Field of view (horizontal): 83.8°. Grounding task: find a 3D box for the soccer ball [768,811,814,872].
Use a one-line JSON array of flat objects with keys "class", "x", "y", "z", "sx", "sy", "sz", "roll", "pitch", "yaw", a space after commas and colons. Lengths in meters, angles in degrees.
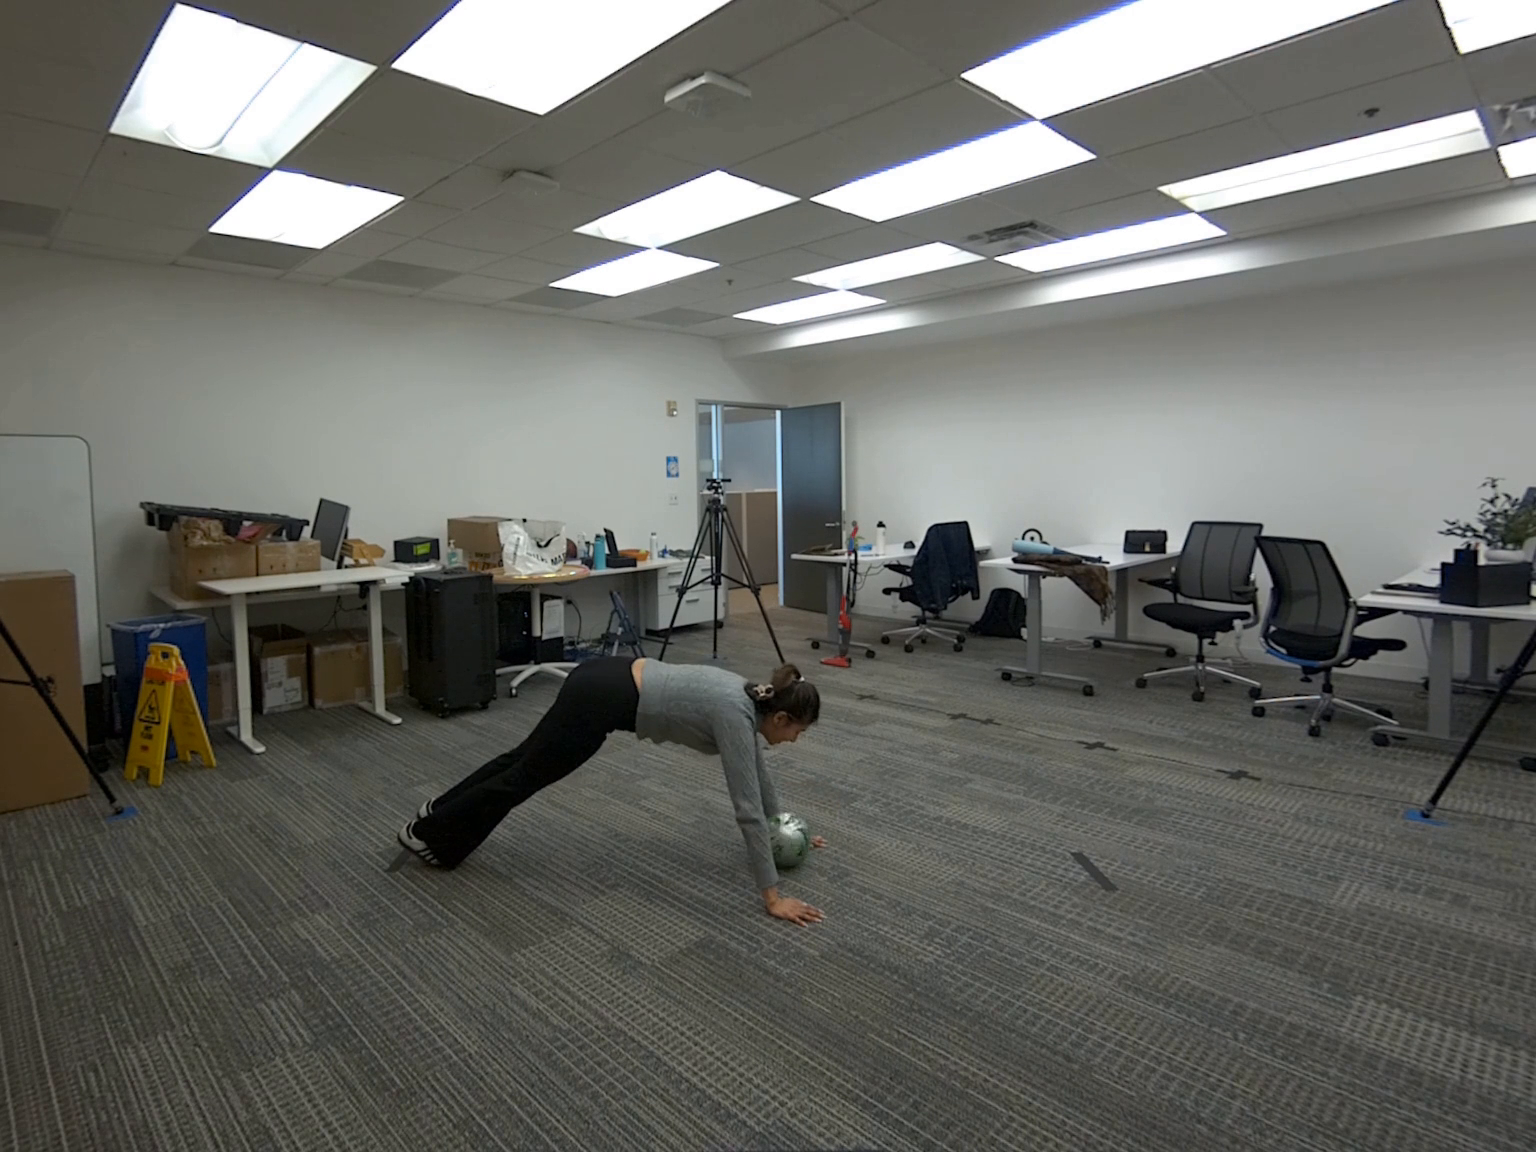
[{"class": "soccer ball", "x": 0.056, "y": 0.946, "z": 3.079, "sx": 0.187, "sy": 0.187, "sz": 0.188, "roll": -1, "pitch": 5, "yaw": -2}]
